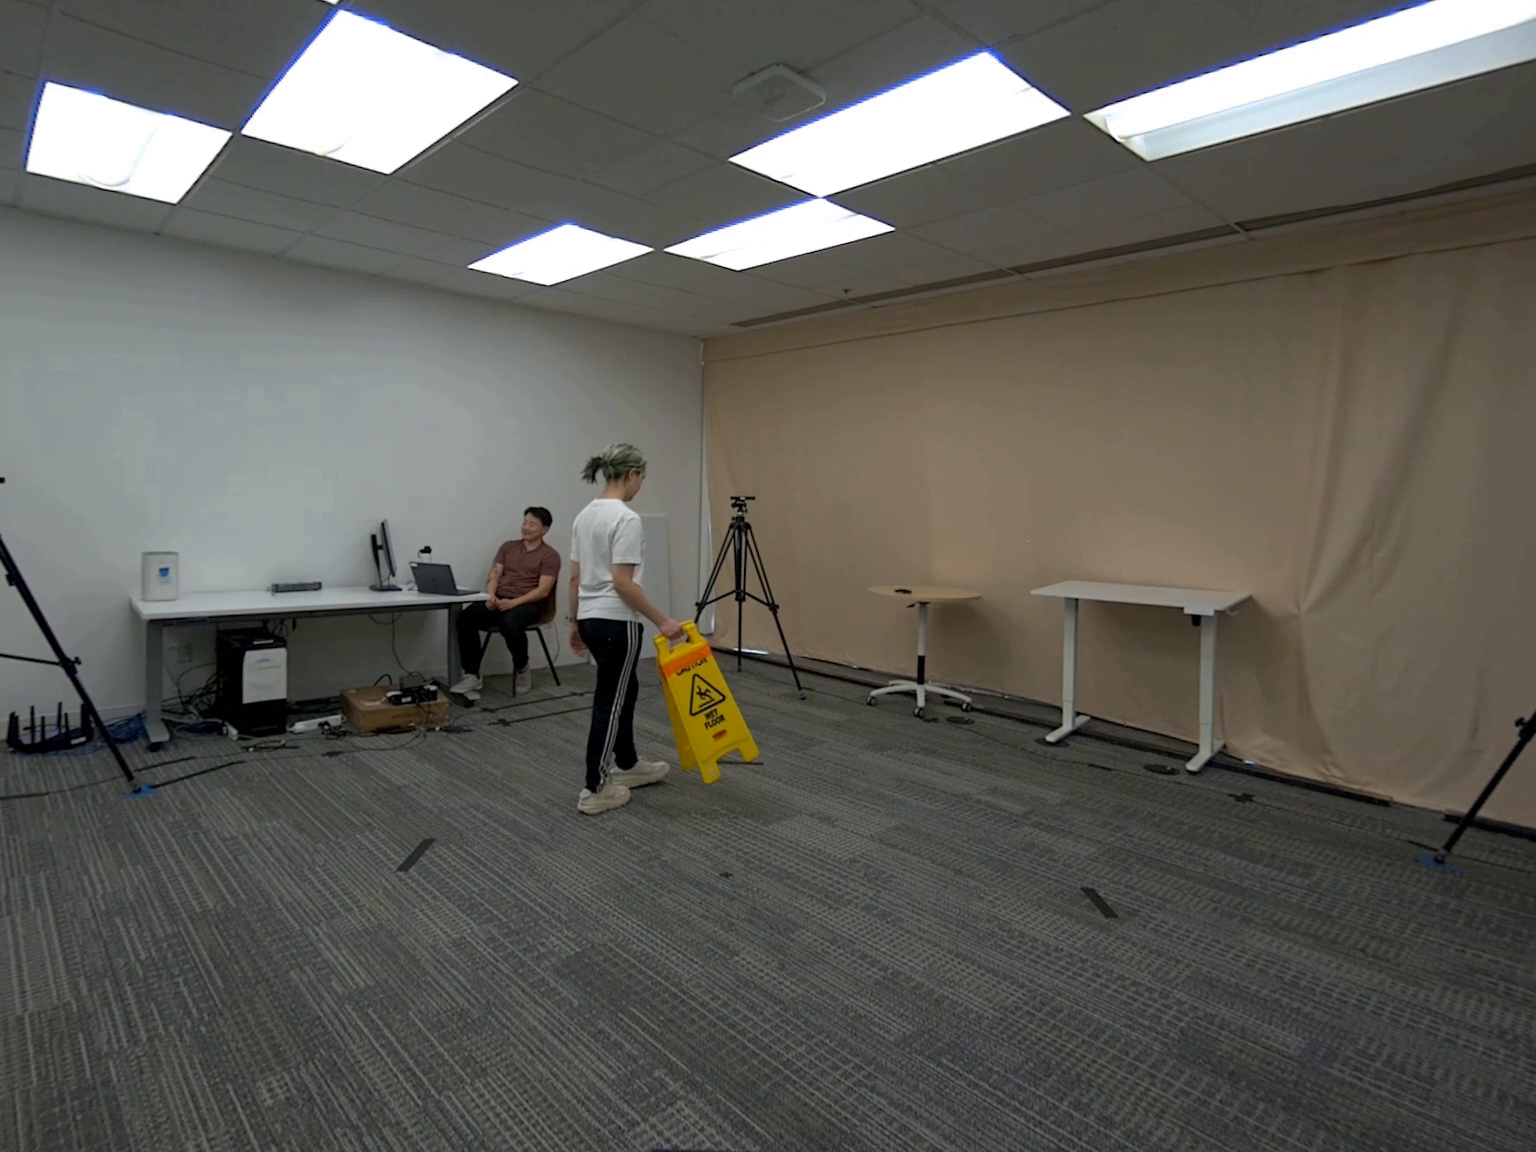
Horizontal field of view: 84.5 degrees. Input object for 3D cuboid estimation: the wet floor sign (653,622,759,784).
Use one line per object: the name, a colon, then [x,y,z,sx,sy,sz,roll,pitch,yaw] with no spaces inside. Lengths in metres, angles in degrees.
wet floor sign: [-0.320,0.530,3.685,0.279,0.640,0.295,-22,10,-24]
